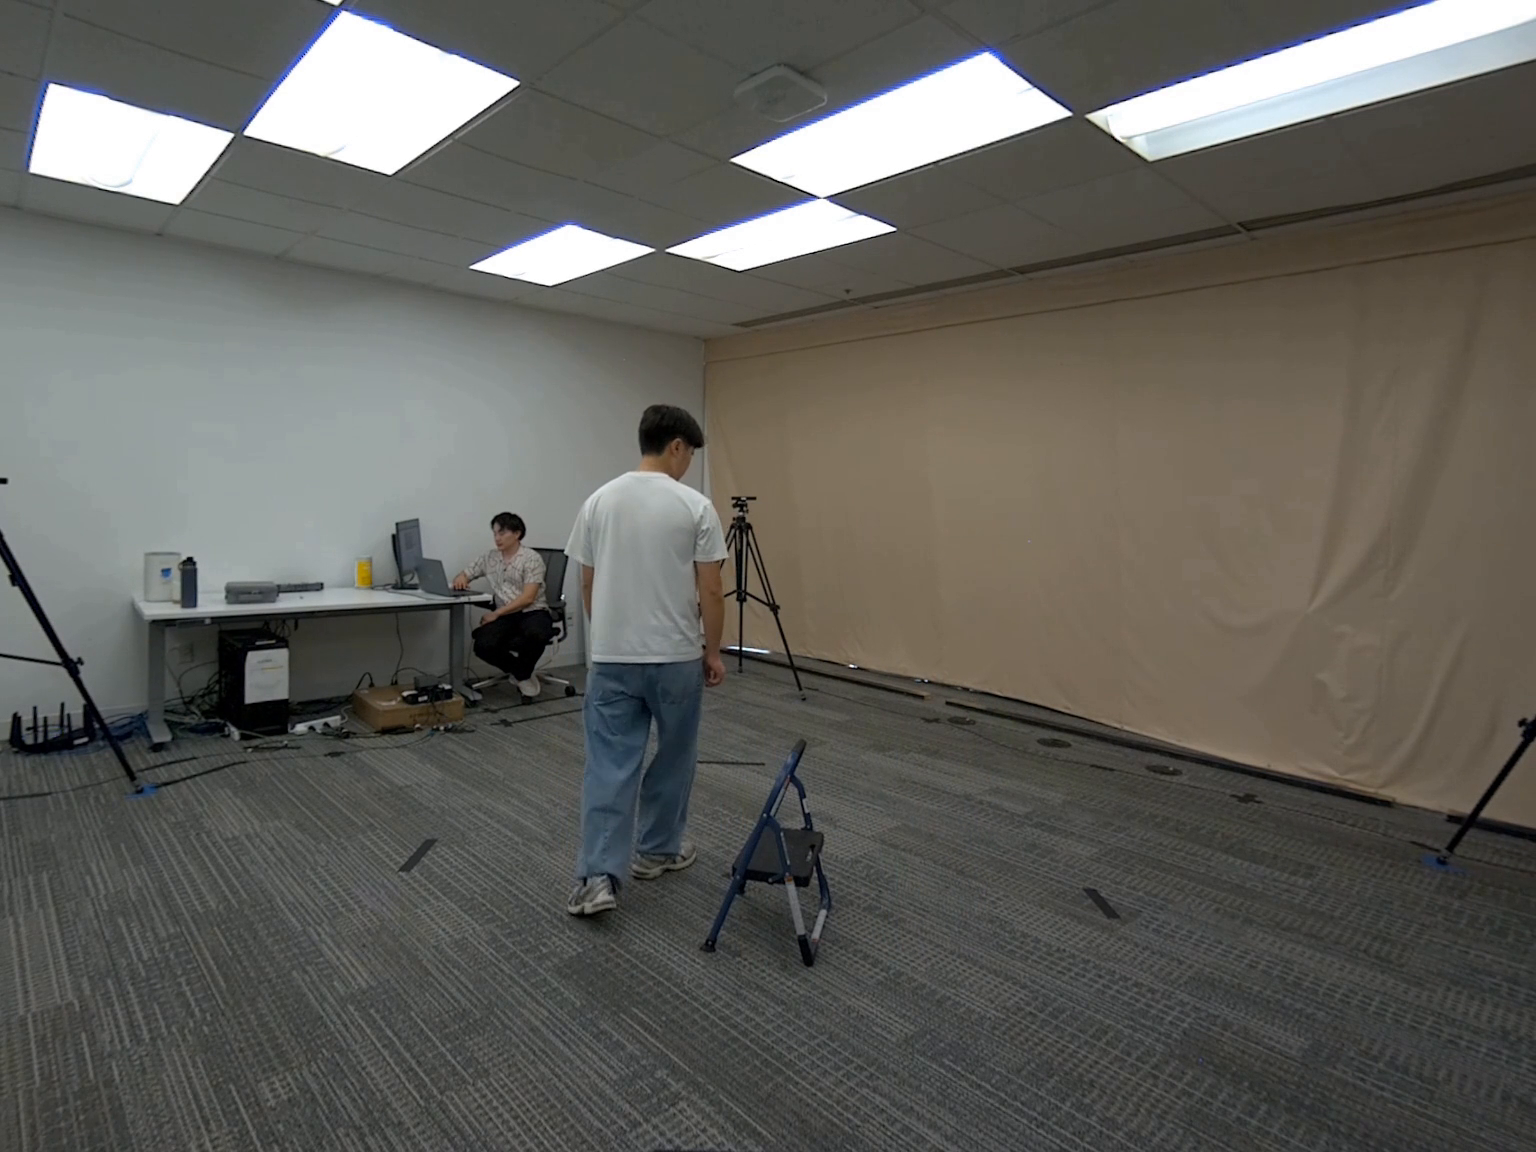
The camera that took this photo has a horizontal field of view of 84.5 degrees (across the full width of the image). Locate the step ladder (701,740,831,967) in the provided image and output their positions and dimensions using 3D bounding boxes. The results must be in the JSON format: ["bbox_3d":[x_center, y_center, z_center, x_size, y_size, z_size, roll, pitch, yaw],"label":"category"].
[{"bbox_3d":[0.014,0.842,2.720,0.353,0.604,0.427,3,4,13],"label":"step ladder"}]
